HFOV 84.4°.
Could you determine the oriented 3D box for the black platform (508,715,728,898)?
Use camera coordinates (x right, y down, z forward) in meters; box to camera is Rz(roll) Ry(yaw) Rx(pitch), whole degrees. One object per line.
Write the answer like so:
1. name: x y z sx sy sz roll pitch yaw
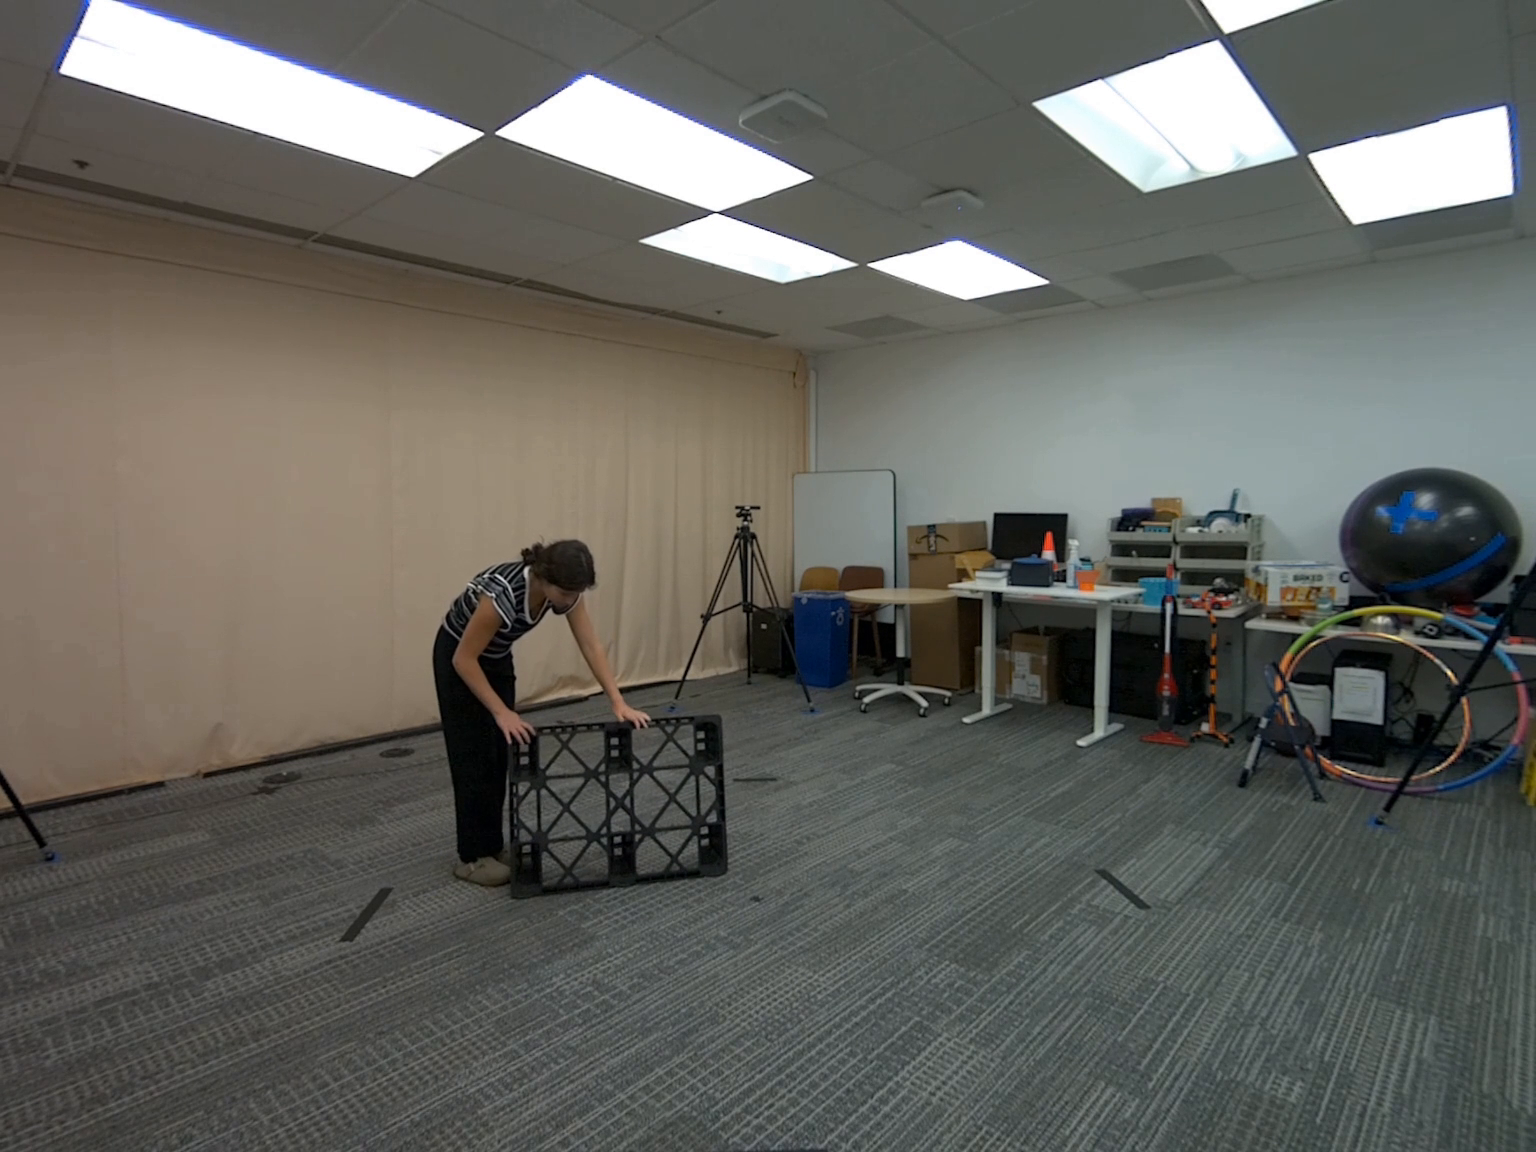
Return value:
1. black platform: -0.562 0.836 3.155 0.794 0.607 0.145 -1 -4 -13
